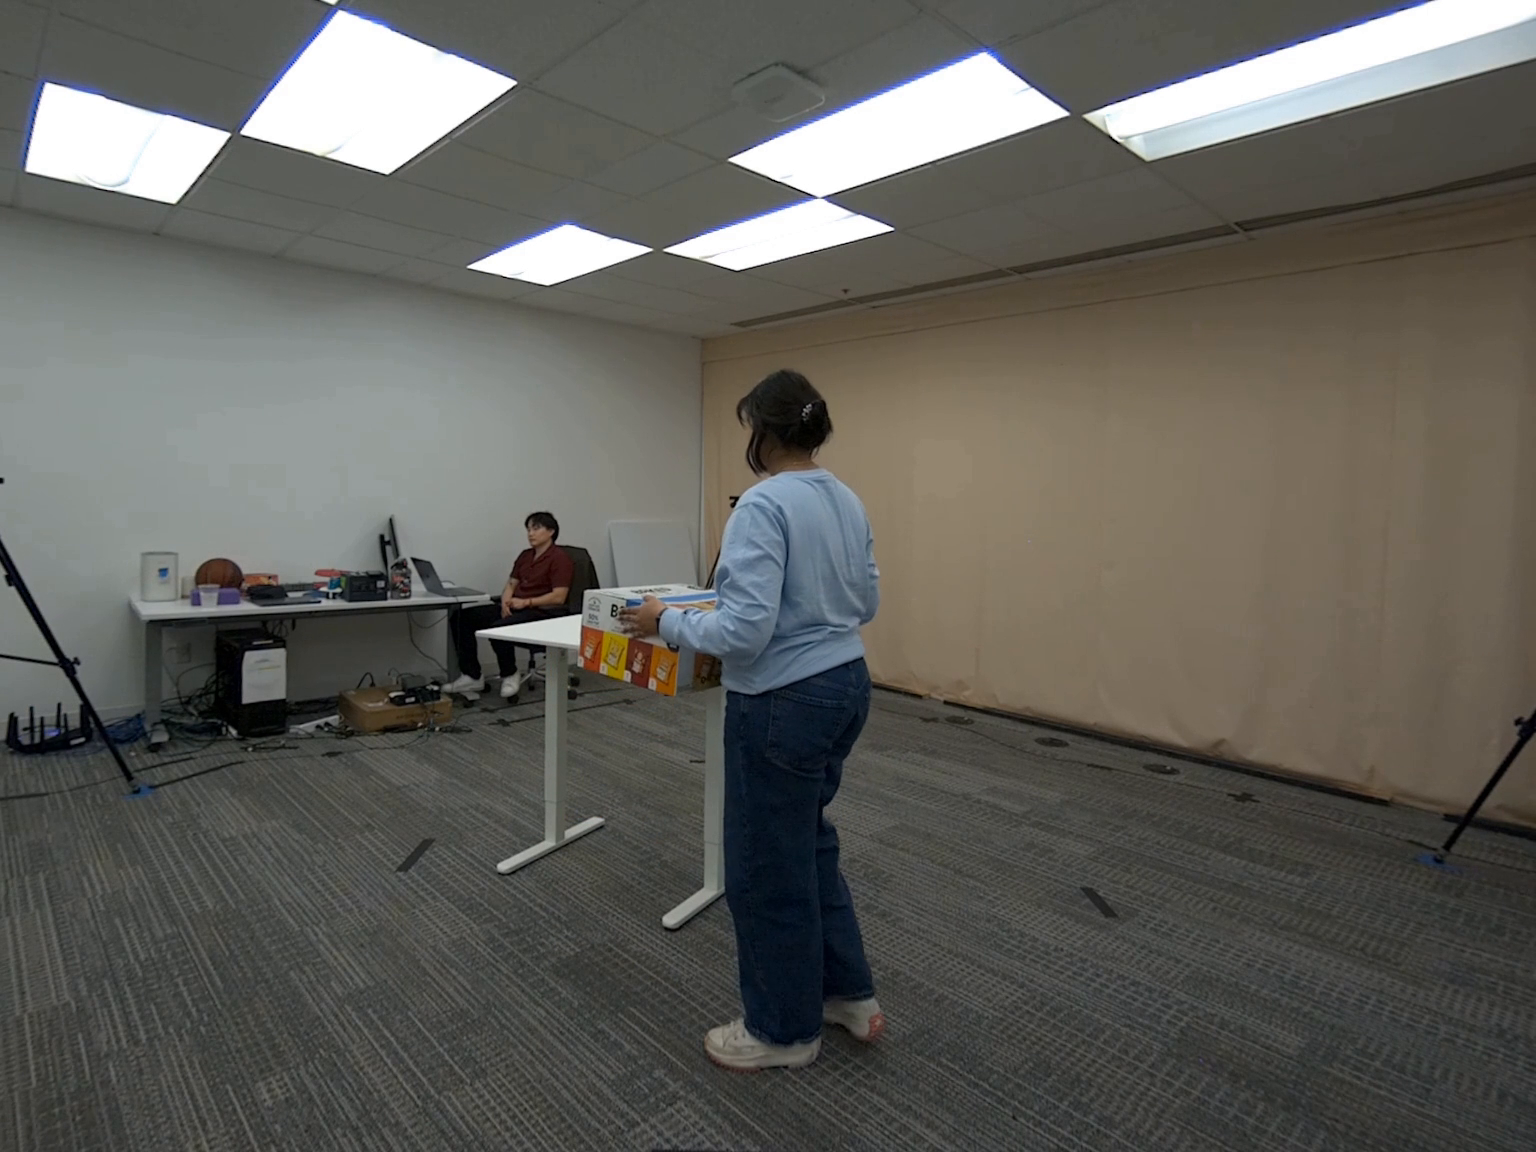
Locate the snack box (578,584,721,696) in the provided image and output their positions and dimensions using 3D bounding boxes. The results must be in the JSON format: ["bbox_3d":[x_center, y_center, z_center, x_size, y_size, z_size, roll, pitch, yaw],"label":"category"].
[{"bbox_3d":[-0.238,0.159,2.248,0.349,0.205,0.396,11,8,34],"label":"snack box"}]
